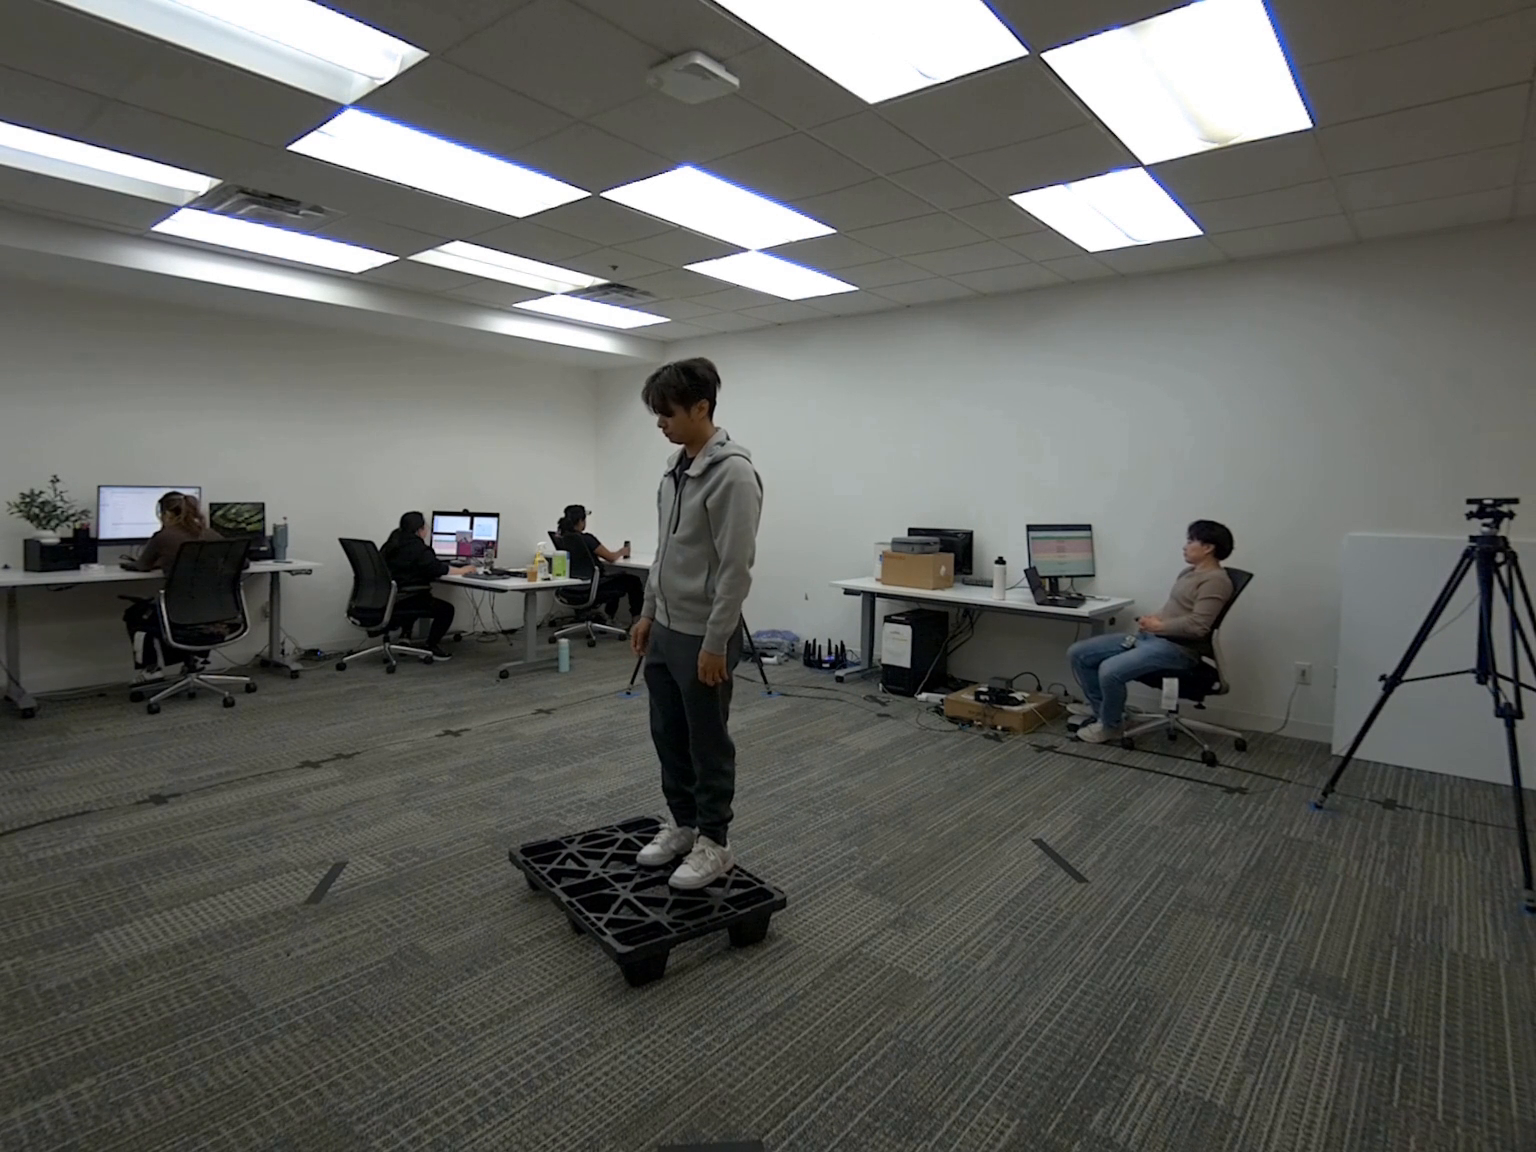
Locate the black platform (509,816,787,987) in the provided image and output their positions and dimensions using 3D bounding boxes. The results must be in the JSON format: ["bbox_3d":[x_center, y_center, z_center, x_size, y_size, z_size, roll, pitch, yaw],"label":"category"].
[{"bbox_3d":[-0.425,1.028,2.789,0.587,0.143,0.833,-2,7,-37],"label":"black platform"}]
